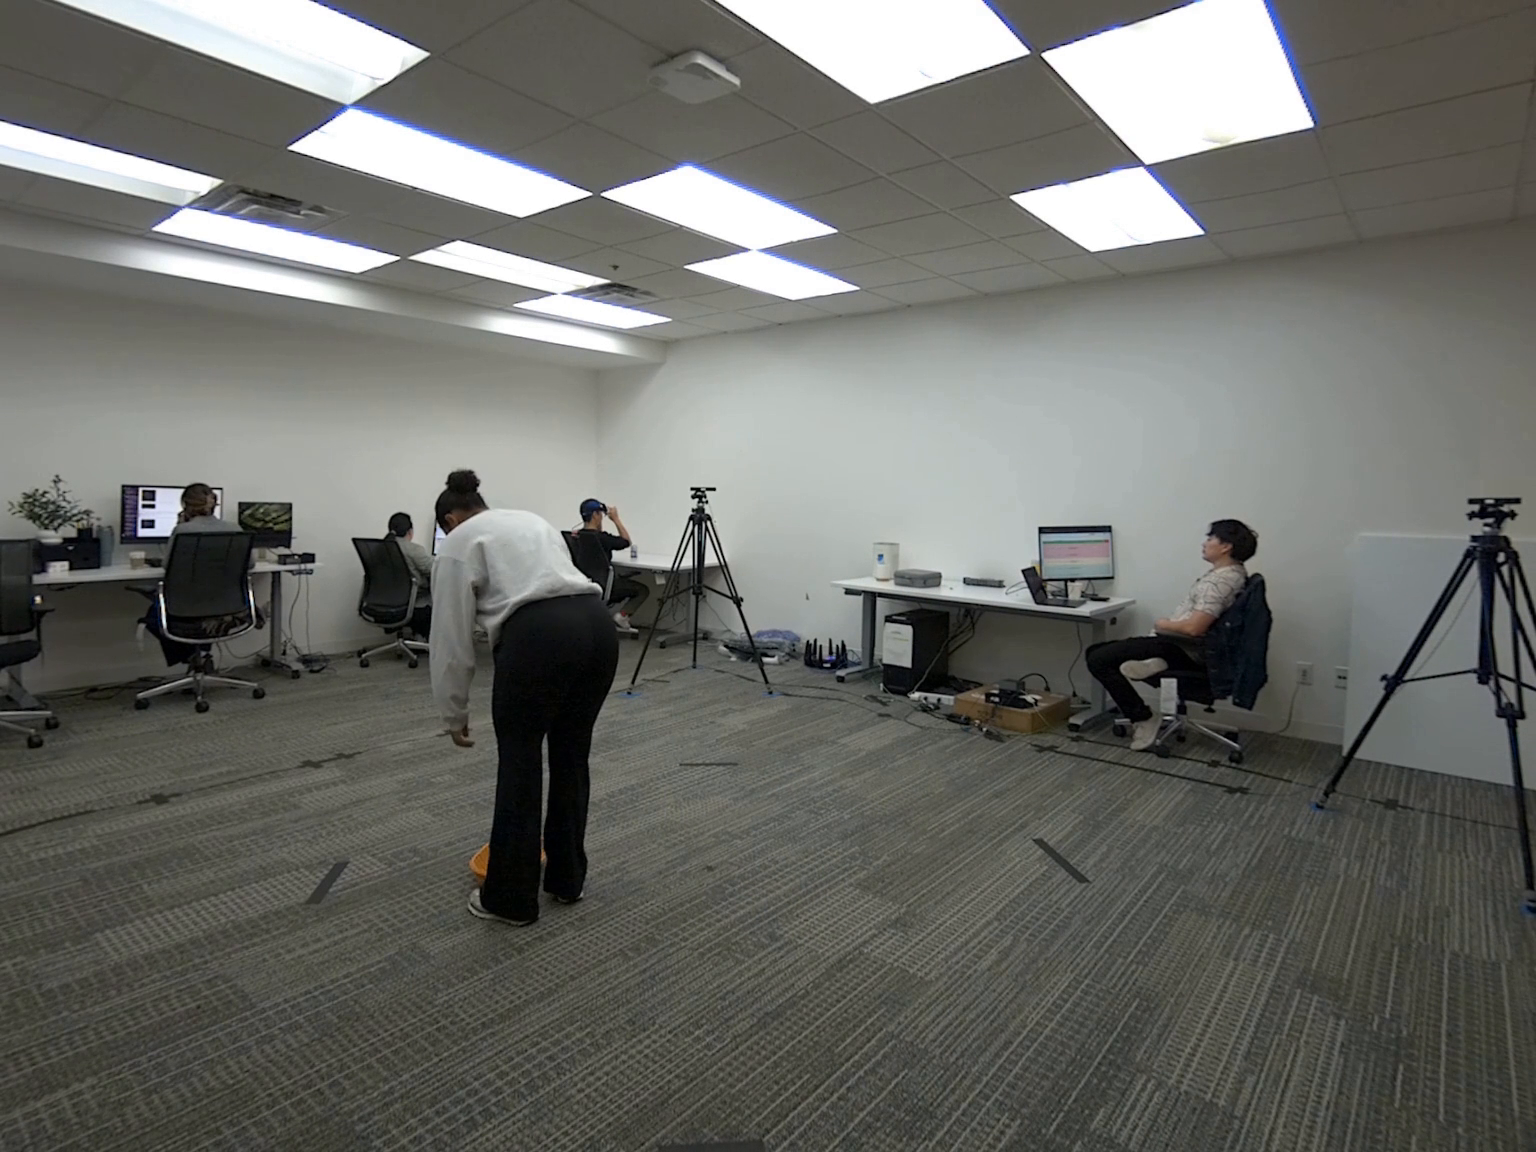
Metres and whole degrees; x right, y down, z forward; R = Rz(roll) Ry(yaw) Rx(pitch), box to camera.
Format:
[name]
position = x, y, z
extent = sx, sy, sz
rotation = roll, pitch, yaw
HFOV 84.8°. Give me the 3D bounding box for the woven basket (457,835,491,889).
[woven basket]
position = -0.922, 1.016, 3.040
extent = 0.255, 0.073, 0.348
rotation = 1, 5, 8
